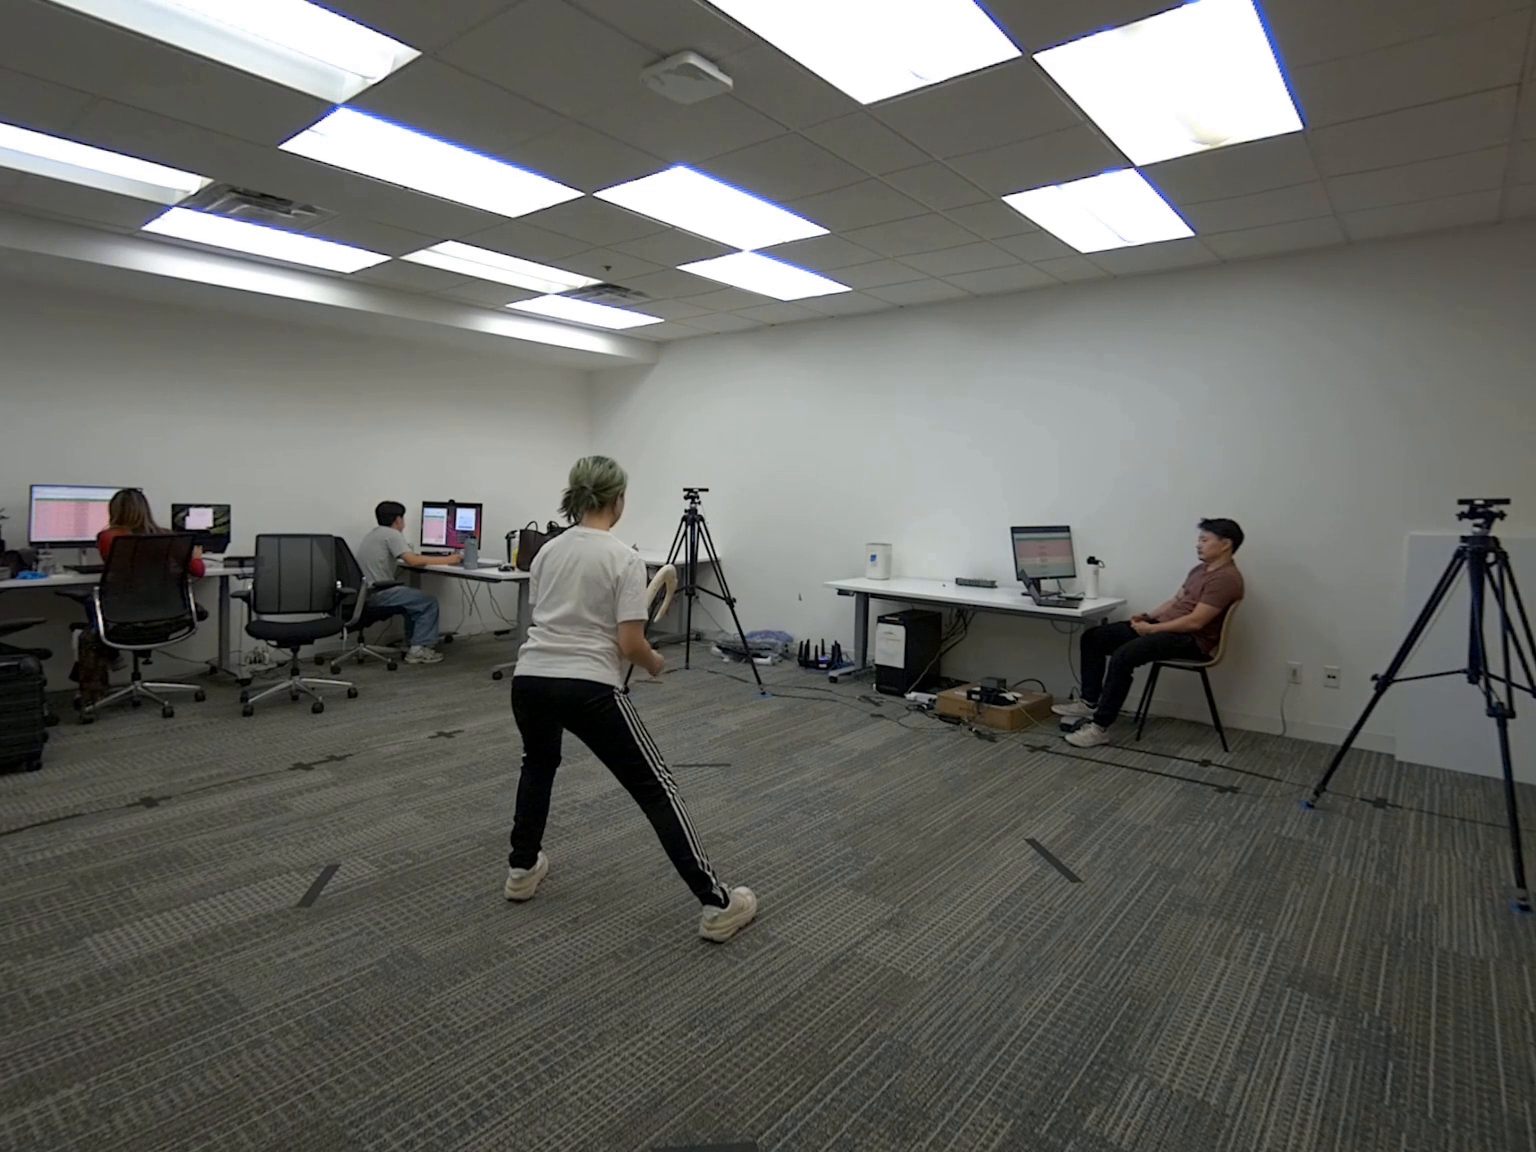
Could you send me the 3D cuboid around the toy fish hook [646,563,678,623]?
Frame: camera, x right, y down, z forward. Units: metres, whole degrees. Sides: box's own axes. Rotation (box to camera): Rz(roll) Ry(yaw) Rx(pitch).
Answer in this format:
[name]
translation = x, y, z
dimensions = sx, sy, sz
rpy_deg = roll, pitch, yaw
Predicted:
[toy fish hook]
translation = -0.485, 0.170, 3.297
dimensions = 0.050, 0.217, 0.510
rpy_deg = 13, 51, 23
